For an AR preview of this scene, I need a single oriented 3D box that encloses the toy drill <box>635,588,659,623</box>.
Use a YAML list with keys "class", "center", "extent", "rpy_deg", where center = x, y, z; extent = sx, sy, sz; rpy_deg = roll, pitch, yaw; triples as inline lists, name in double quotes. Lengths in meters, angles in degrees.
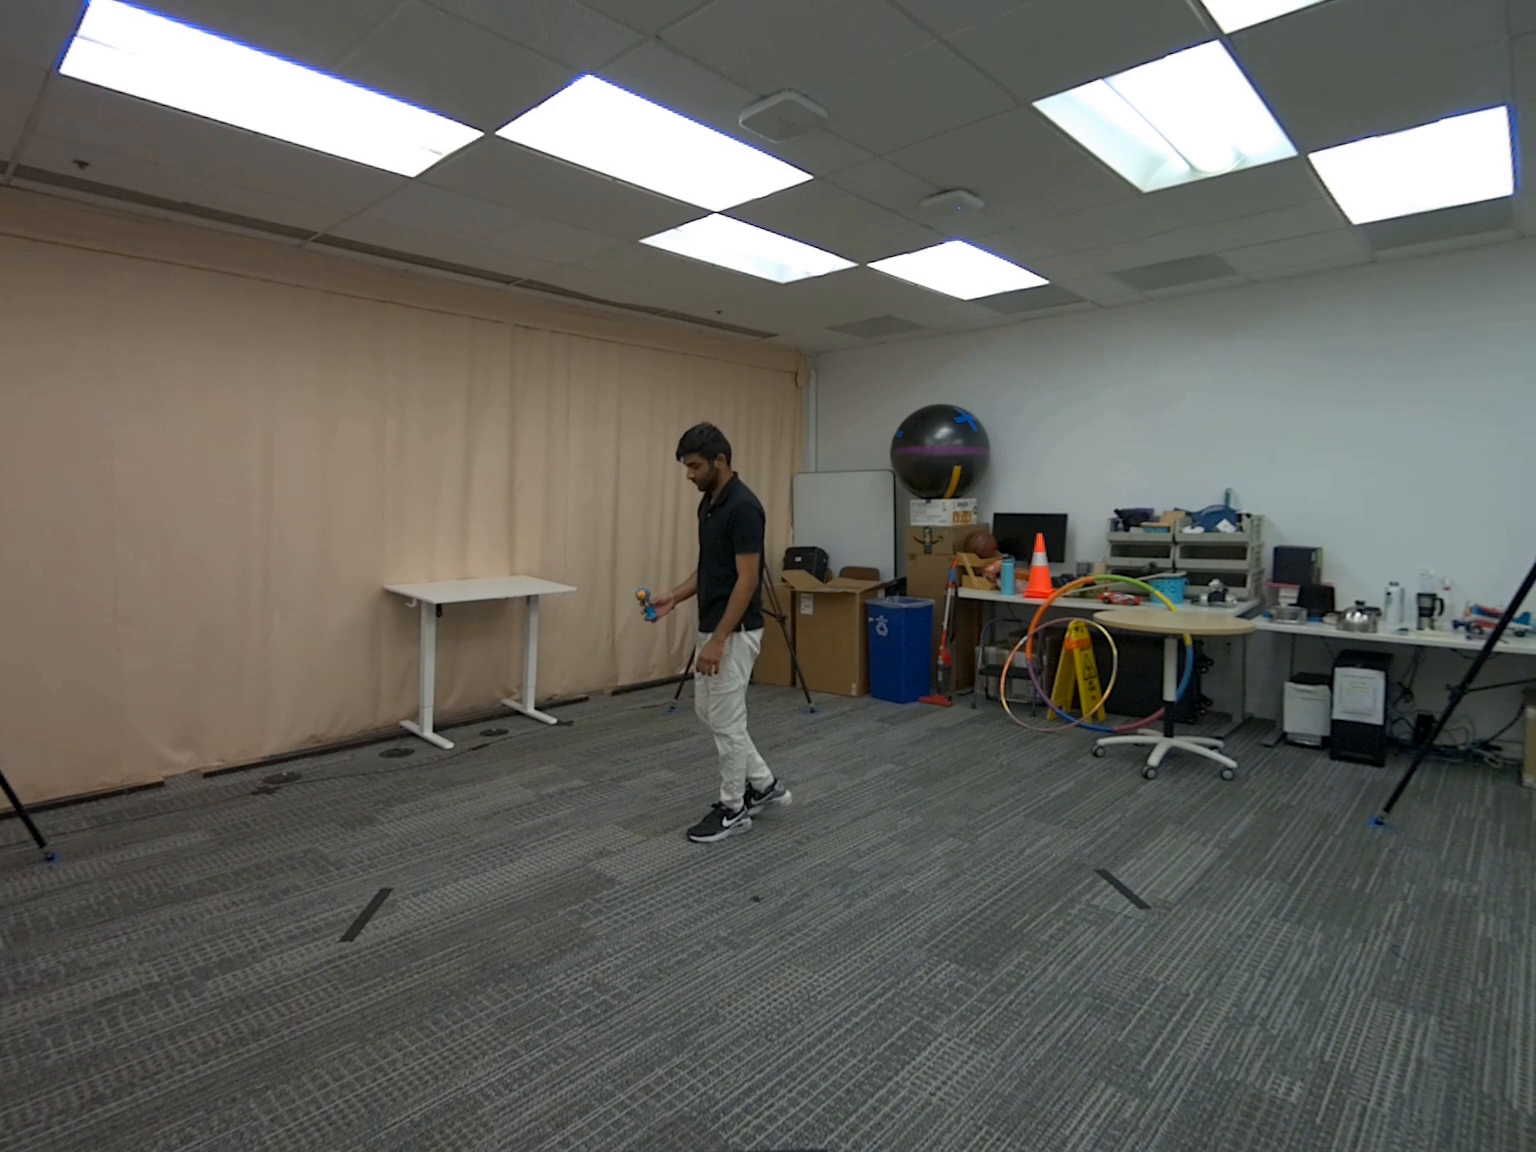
- class: "toy drill"
  center: [-0.506, 0.117, 3.524]
  extent: [0.061, 0.146, 0.170]
  rpy_deg: [-19, 1, -3]
